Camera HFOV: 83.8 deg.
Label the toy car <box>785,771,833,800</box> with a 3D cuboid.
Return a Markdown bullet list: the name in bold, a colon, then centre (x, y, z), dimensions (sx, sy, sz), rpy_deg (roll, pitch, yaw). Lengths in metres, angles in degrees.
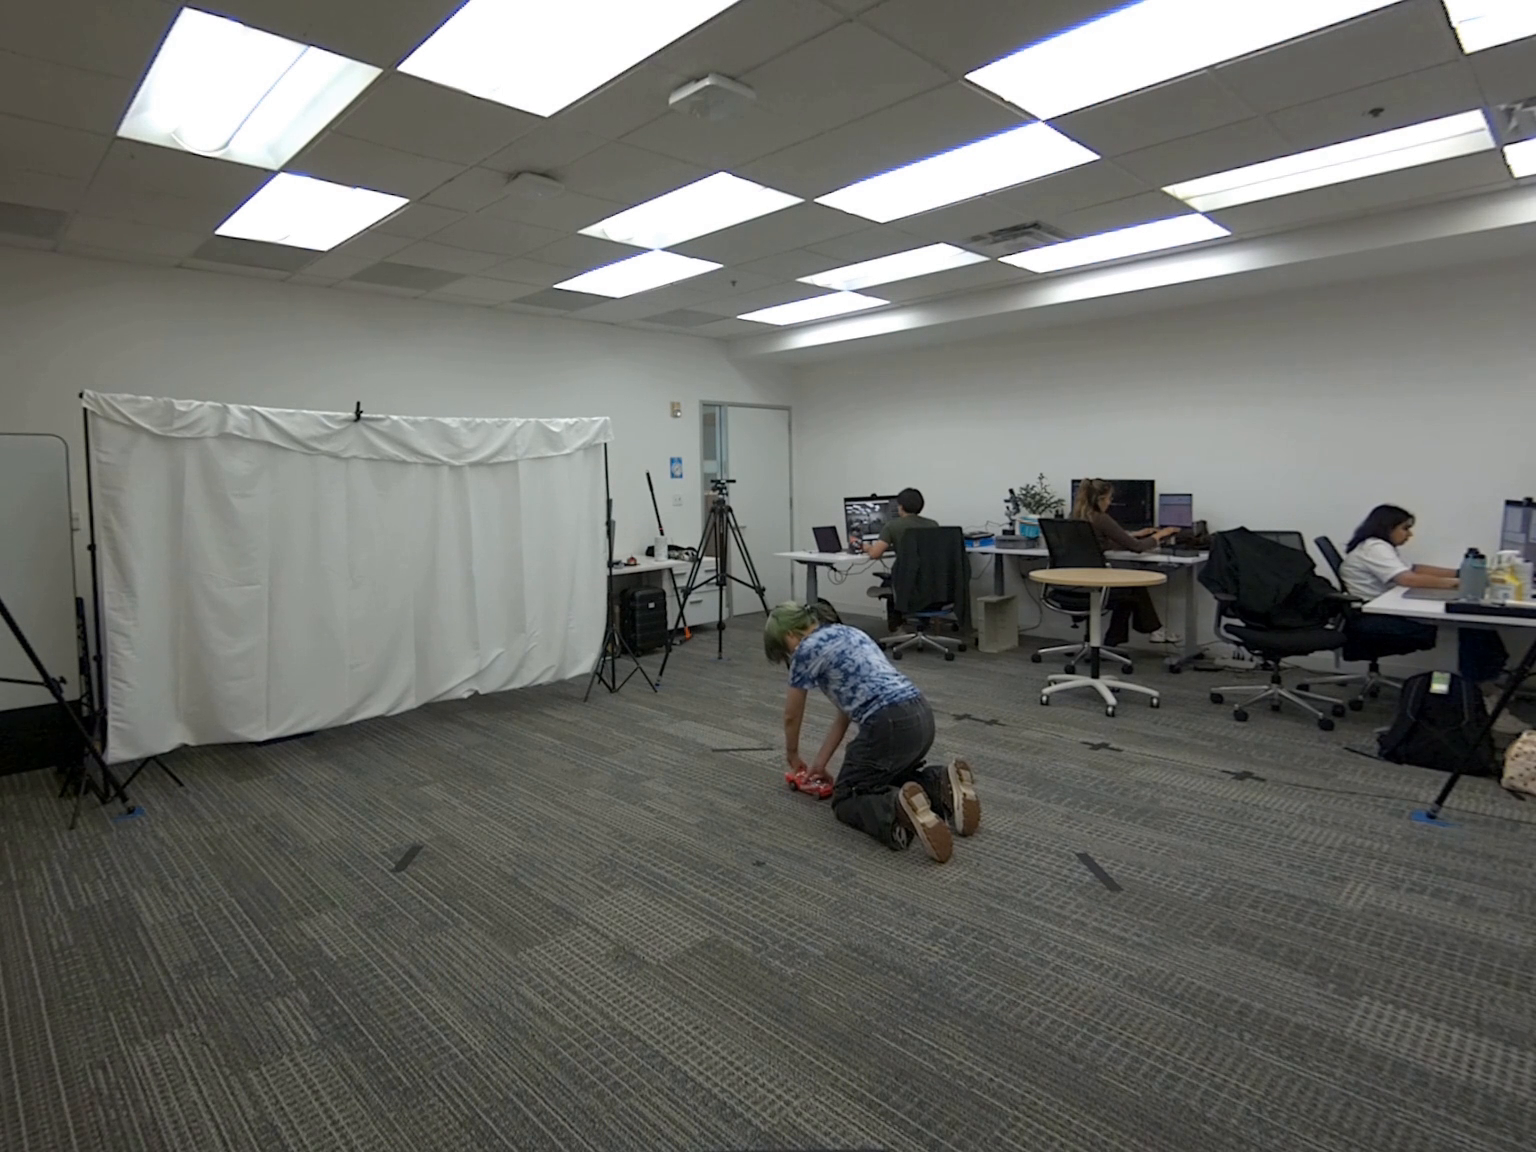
- **toy car**: centre (0.188, 0.935, 3.836), dimensions (0.127, 0.082, 0.264), rpy_deg (-3, 17, -41)
